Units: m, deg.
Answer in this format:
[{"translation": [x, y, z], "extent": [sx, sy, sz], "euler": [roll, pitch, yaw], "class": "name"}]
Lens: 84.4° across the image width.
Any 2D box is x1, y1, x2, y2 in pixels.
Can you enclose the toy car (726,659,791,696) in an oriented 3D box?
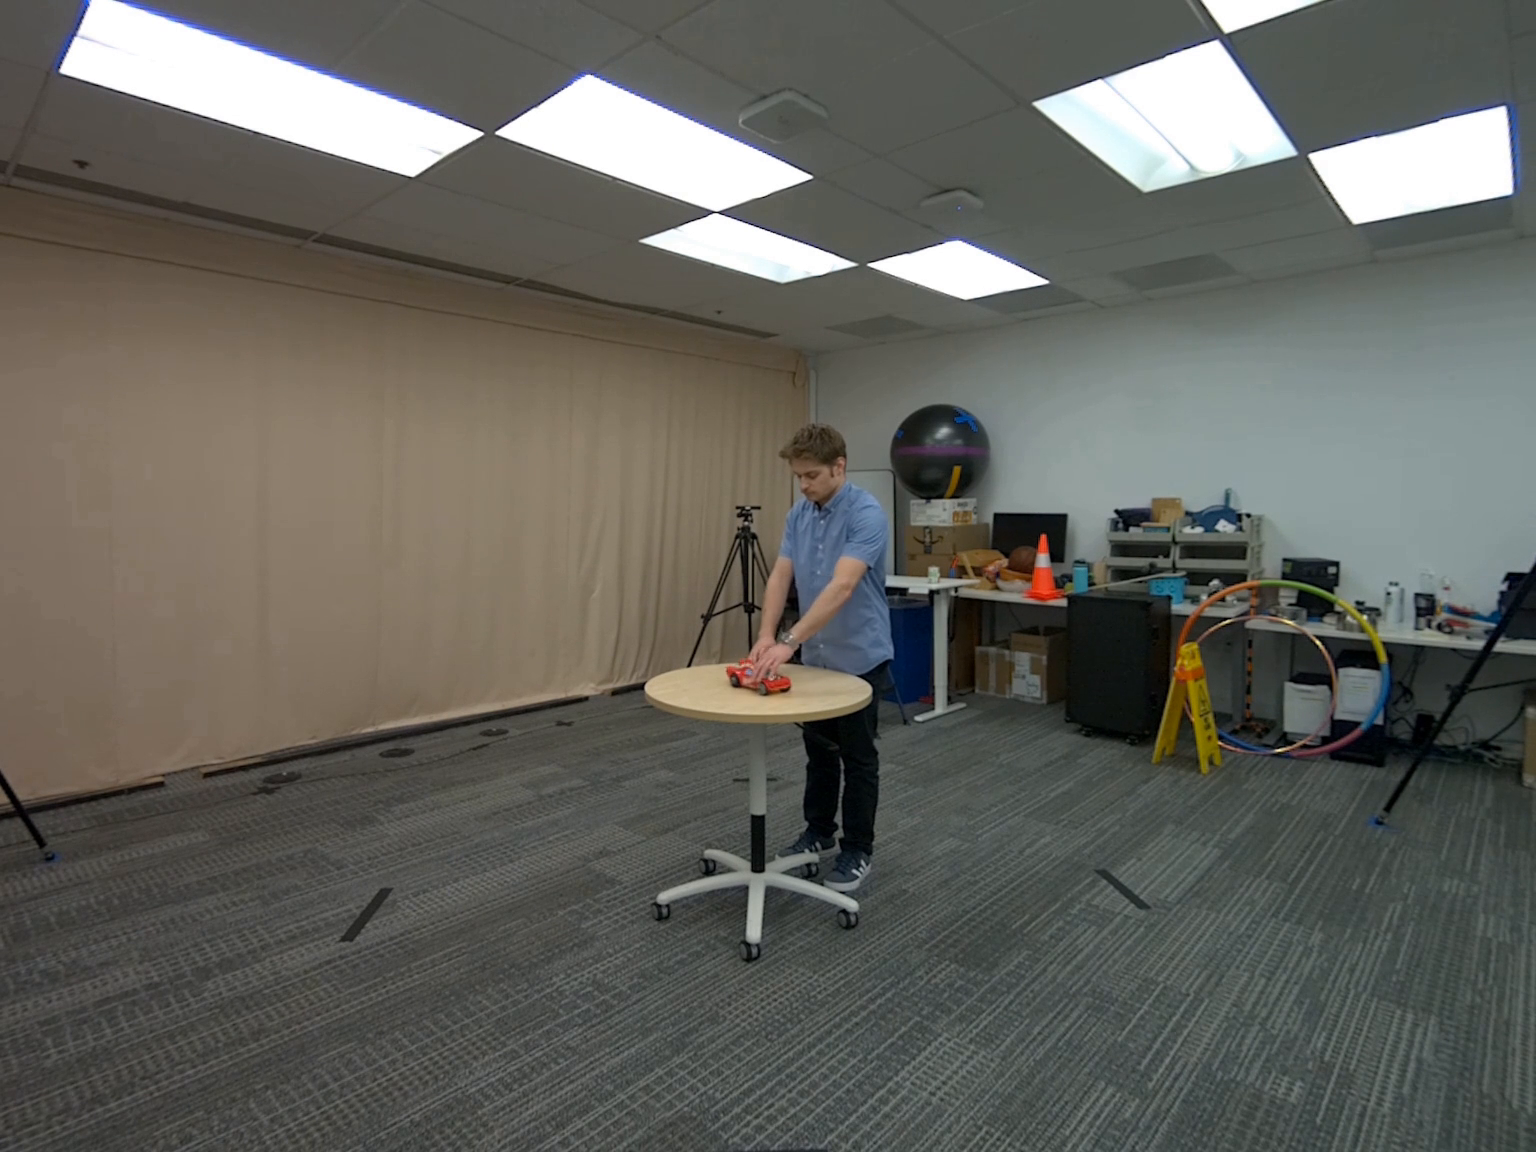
[{"translation": [-0.036, 0.345, 2.821], "extent": [0.126, 0.082, 0.264], "euler": [-3, 18, -37], "class": "toy car"}]
